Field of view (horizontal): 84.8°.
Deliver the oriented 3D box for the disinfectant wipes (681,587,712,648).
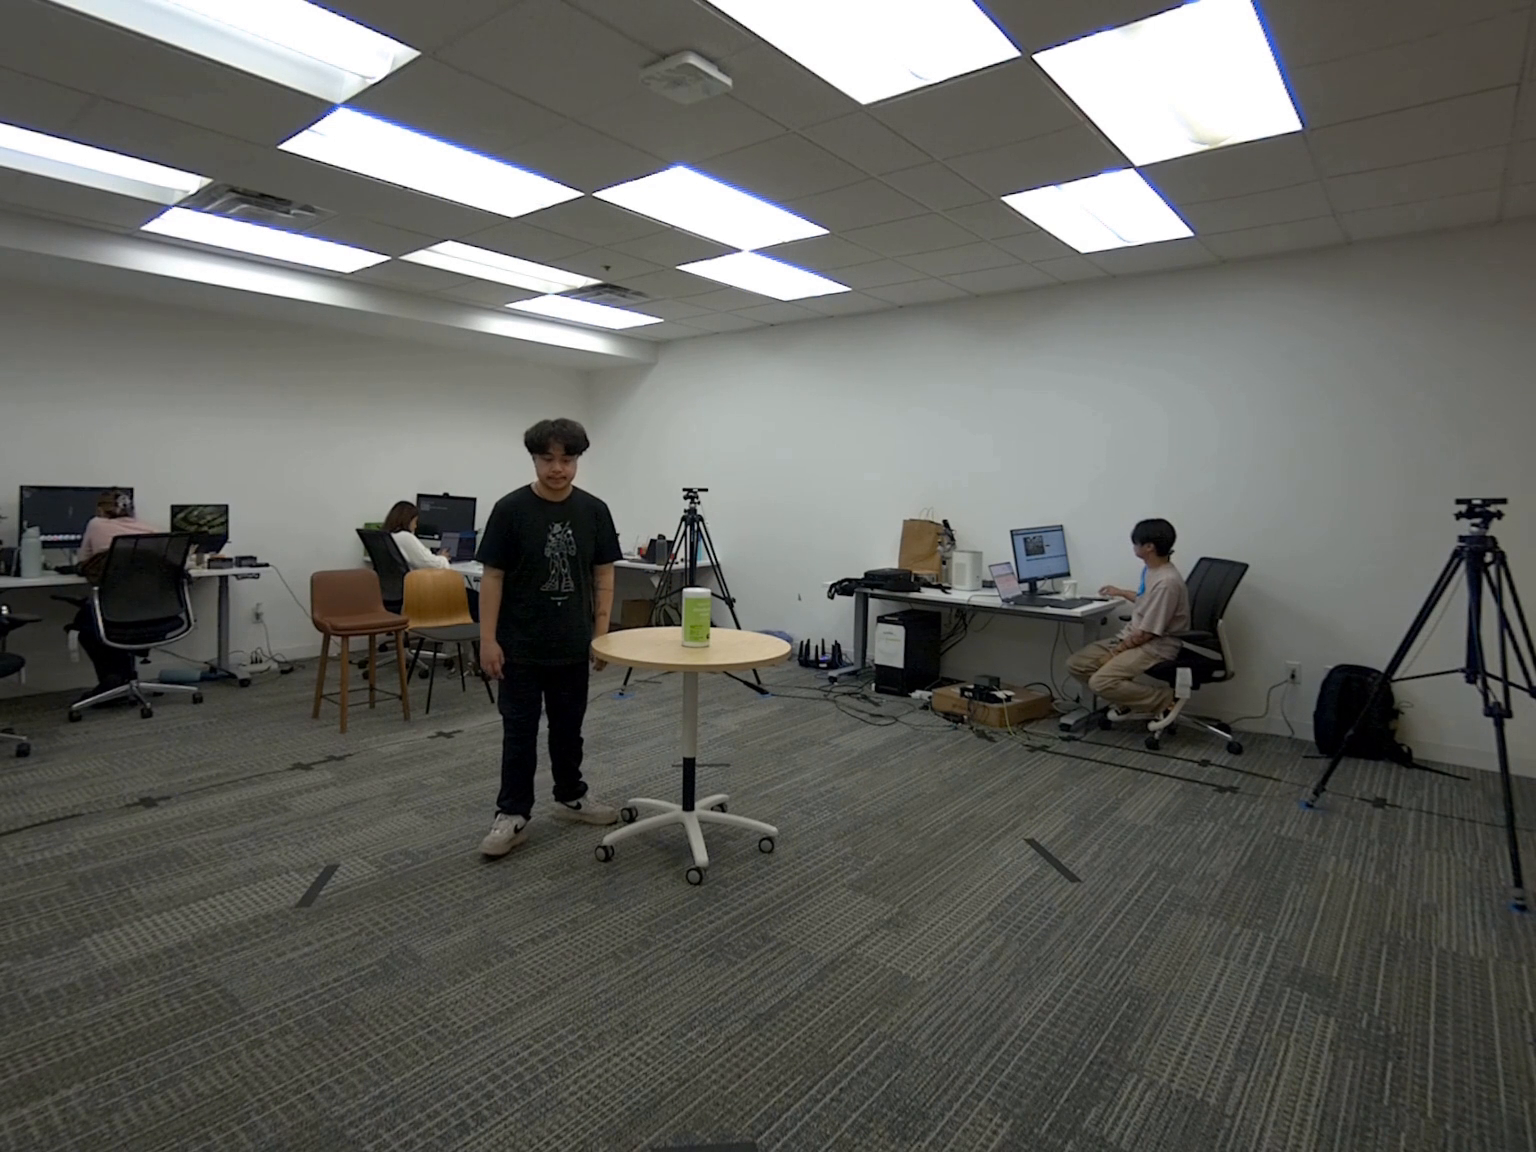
[{"bbox_3d":[-0.284,0.157,3.245,0.118,0.217,0.118,1,4,-2],"label":"disinfectant wipes"}]
